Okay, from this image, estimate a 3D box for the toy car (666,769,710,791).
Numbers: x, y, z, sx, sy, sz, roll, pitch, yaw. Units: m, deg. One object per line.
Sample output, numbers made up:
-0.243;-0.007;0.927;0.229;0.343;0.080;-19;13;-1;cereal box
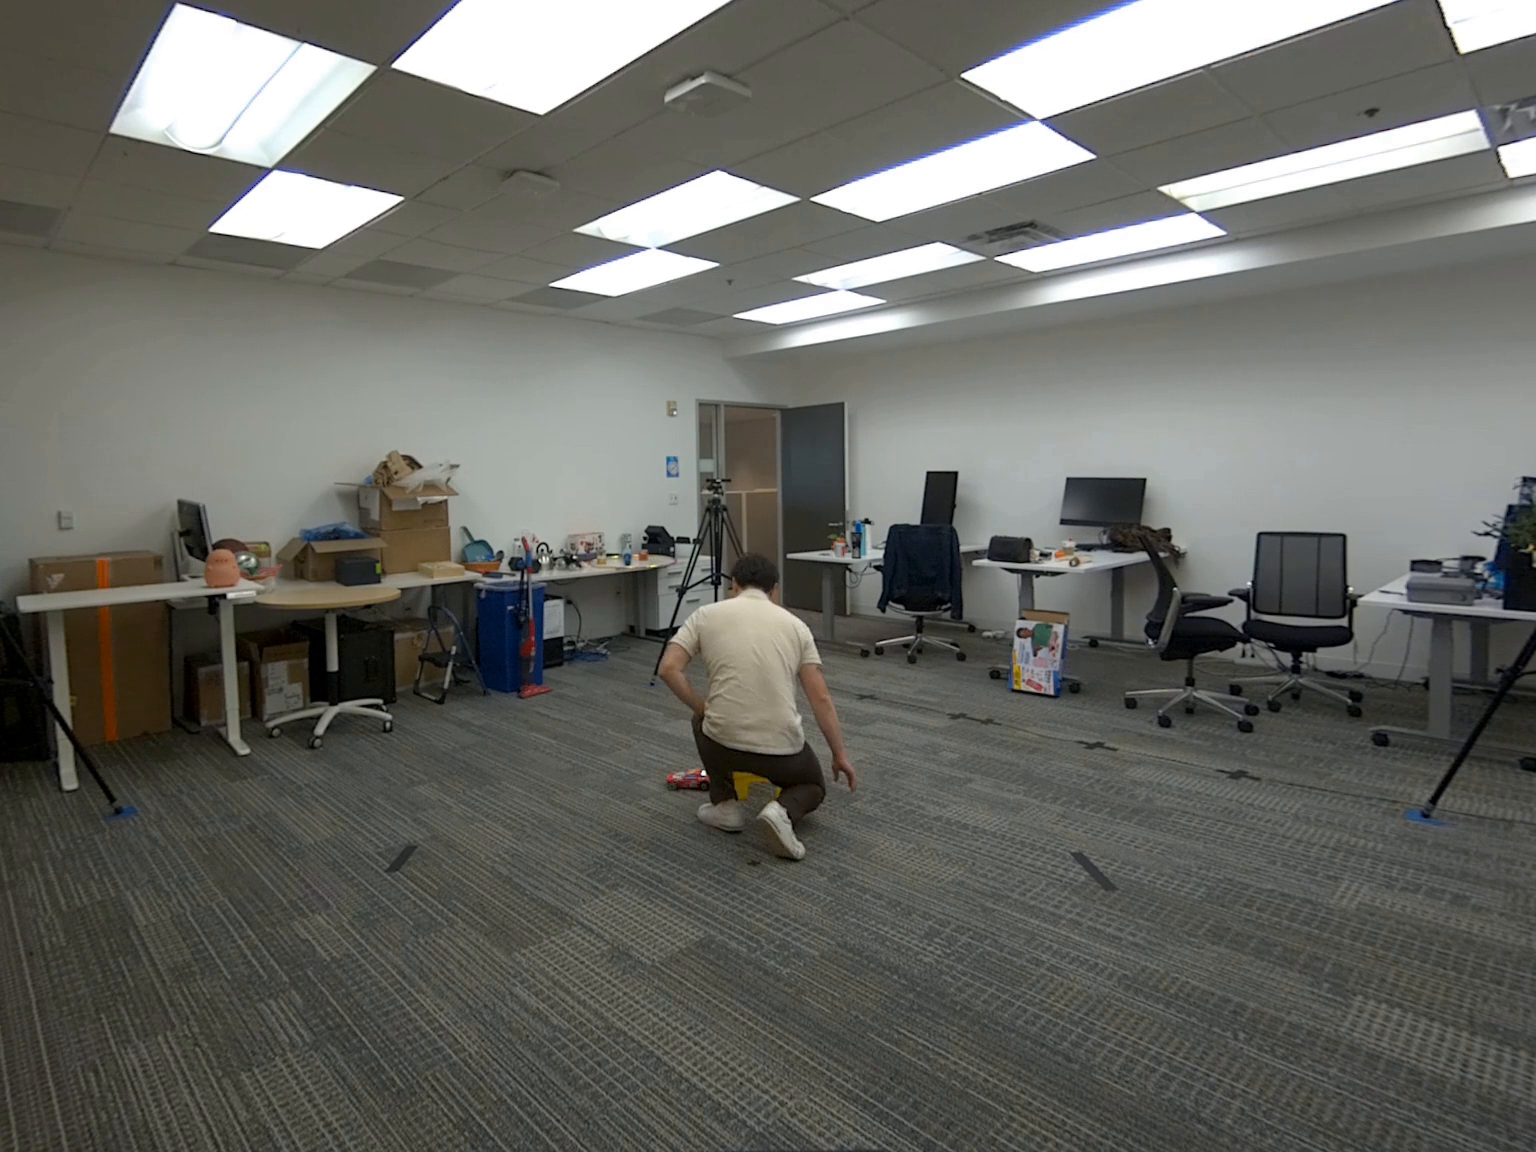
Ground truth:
-0.335;0.930;3.902;0.255;0.083;0.130;-10;3;4;toy car
